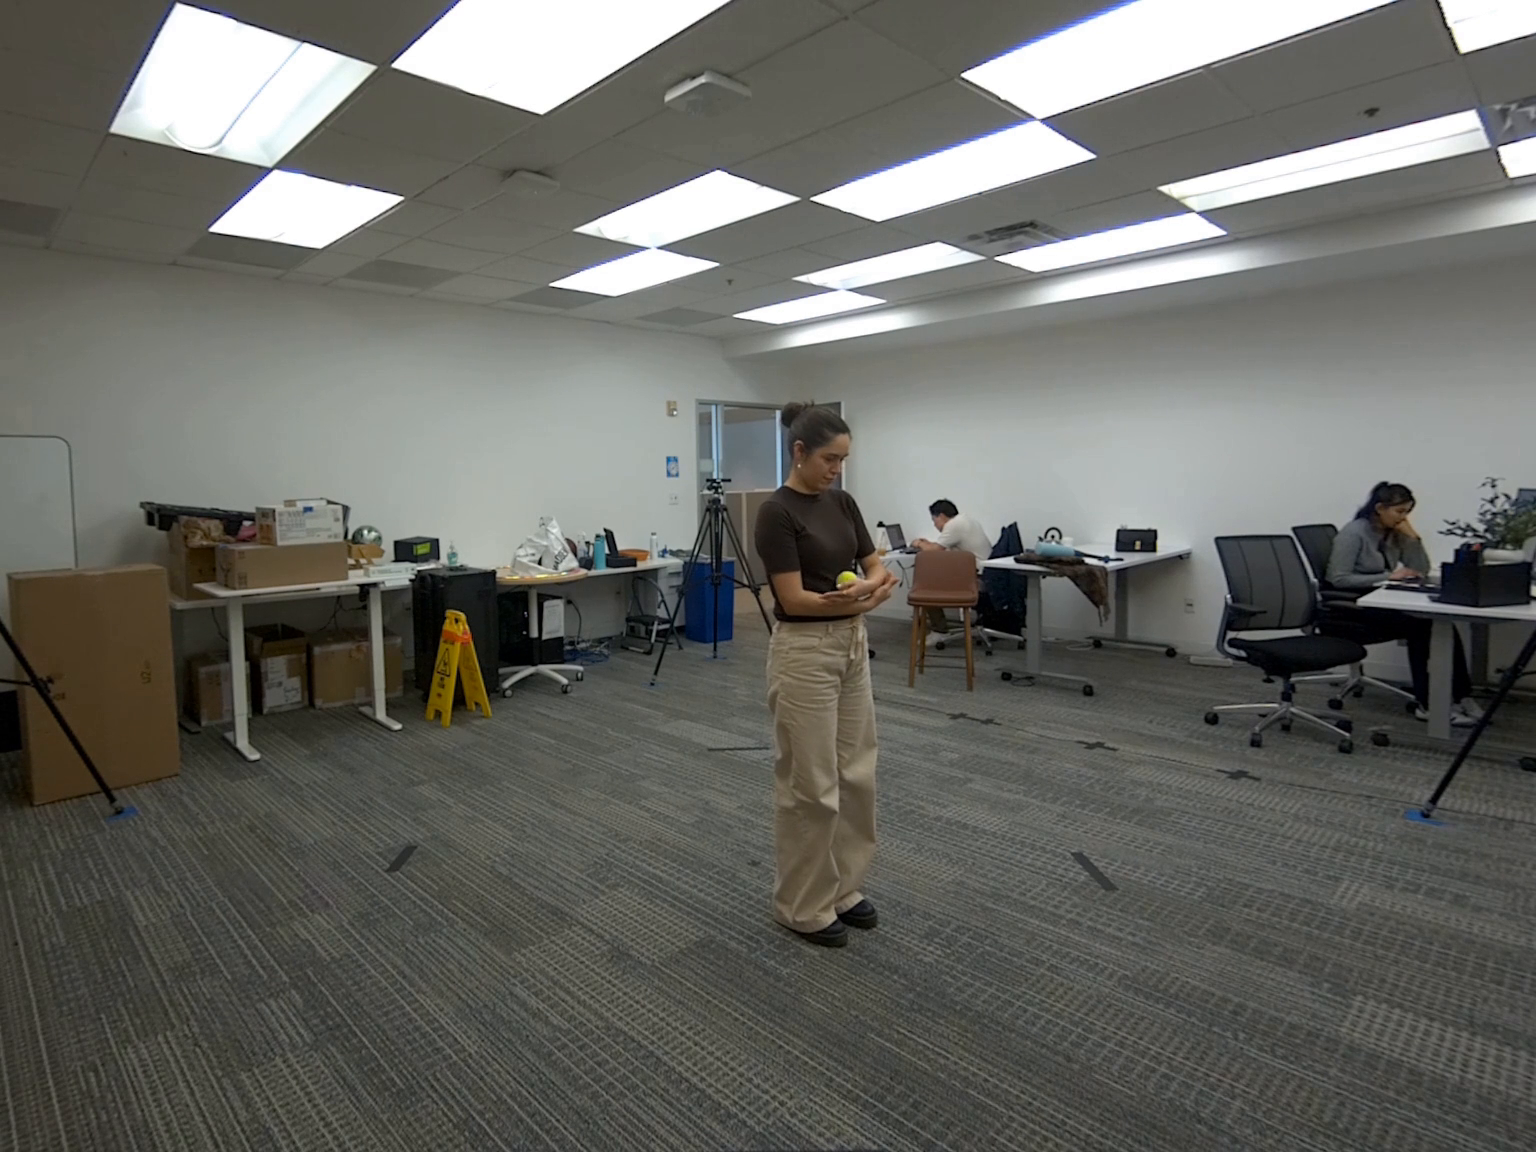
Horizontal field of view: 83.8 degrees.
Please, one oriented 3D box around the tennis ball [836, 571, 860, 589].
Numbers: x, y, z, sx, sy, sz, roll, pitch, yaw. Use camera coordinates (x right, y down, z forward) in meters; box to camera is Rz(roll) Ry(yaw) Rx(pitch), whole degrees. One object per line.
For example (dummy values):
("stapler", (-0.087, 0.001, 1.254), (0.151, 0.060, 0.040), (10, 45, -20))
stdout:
("tennis ball", (0.215, 0.021, 2.545), (0.066, 0.066, 0.067), (-1, 5, -2))
